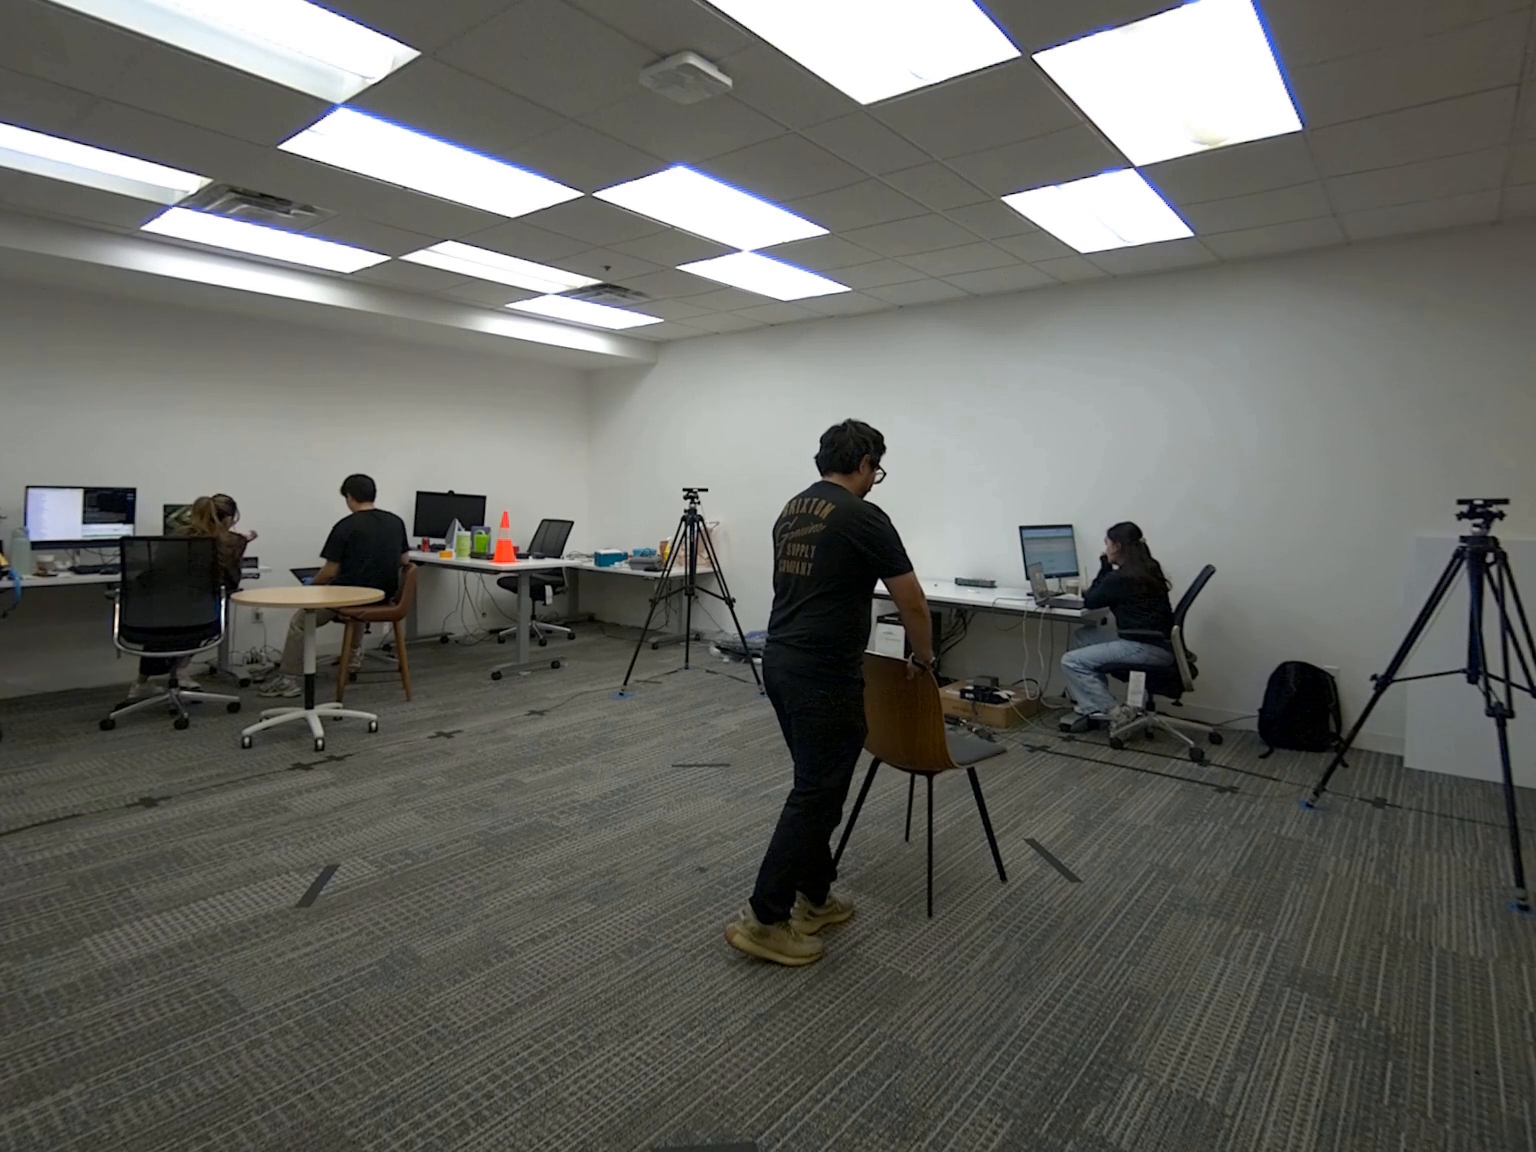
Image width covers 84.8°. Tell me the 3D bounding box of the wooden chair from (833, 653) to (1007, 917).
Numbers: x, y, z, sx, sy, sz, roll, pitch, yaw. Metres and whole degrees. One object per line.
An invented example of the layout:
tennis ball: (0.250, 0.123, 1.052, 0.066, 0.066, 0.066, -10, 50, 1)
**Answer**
wooden chair: (0.554, 0.662, 3.081, 0.509, 0.873, 0.494, -7, 7, -41)
